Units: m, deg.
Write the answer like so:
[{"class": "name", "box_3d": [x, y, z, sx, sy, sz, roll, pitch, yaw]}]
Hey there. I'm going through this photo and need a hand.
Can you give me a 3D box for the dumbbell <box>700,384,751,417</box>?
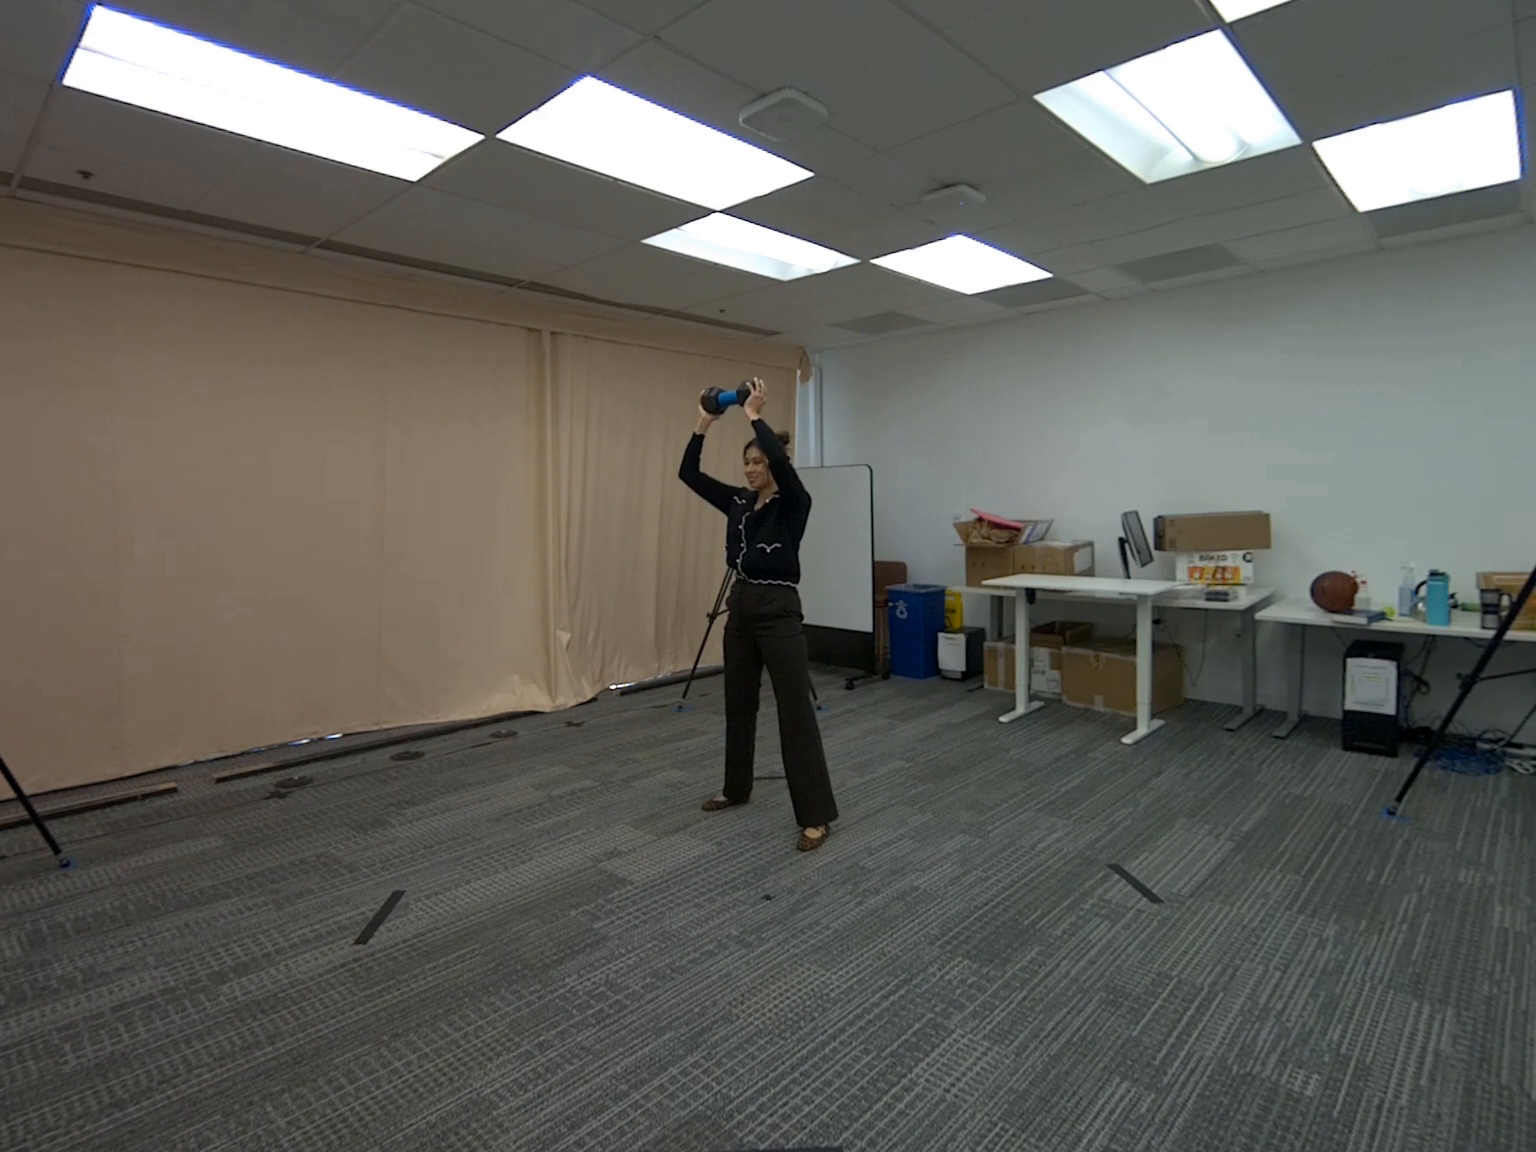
[{"class": "dumbbell", "box_3d": [-0.145, -0.748, 3.567, 0.303, 0.105, 0.122, 3, 48, 44]}]
